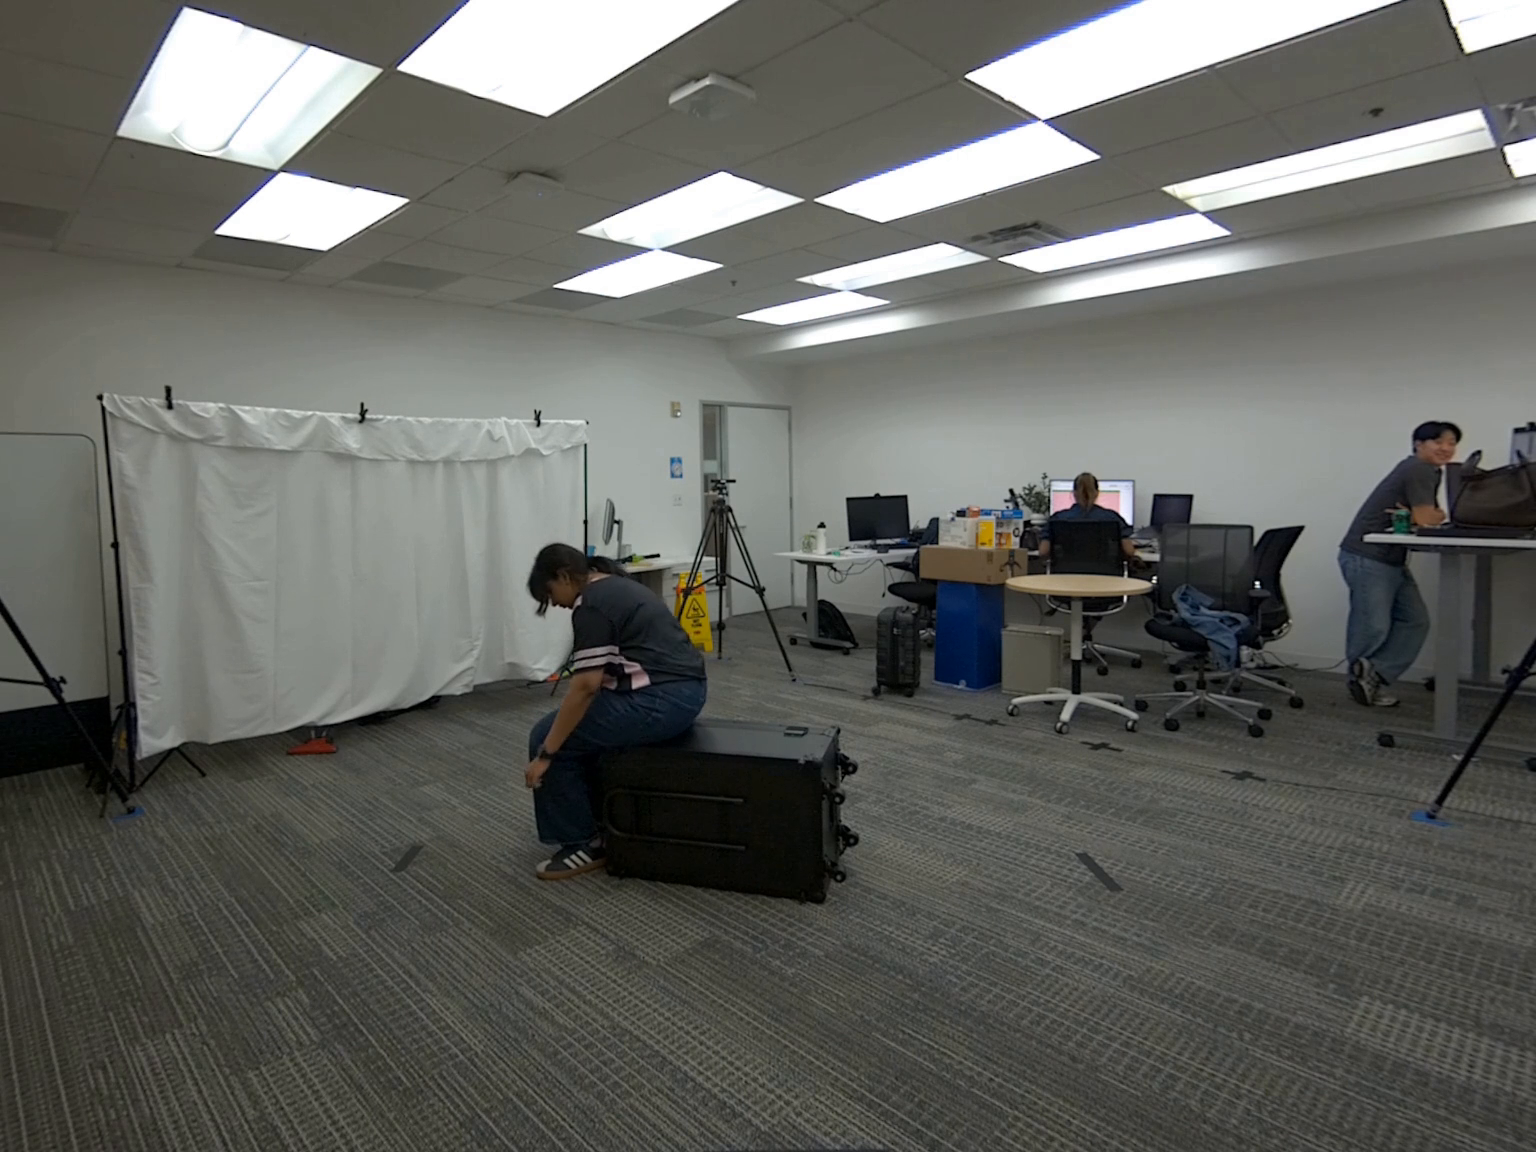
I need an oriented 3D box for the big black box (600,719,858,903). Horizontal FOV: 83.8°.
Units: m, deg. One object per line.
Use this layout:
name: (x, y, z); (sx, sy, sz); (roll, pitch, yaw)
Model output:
big black box: (-0.121, 0.795, 3.048); (0.883, 0.521, 0.380); (1, 5, 17)
